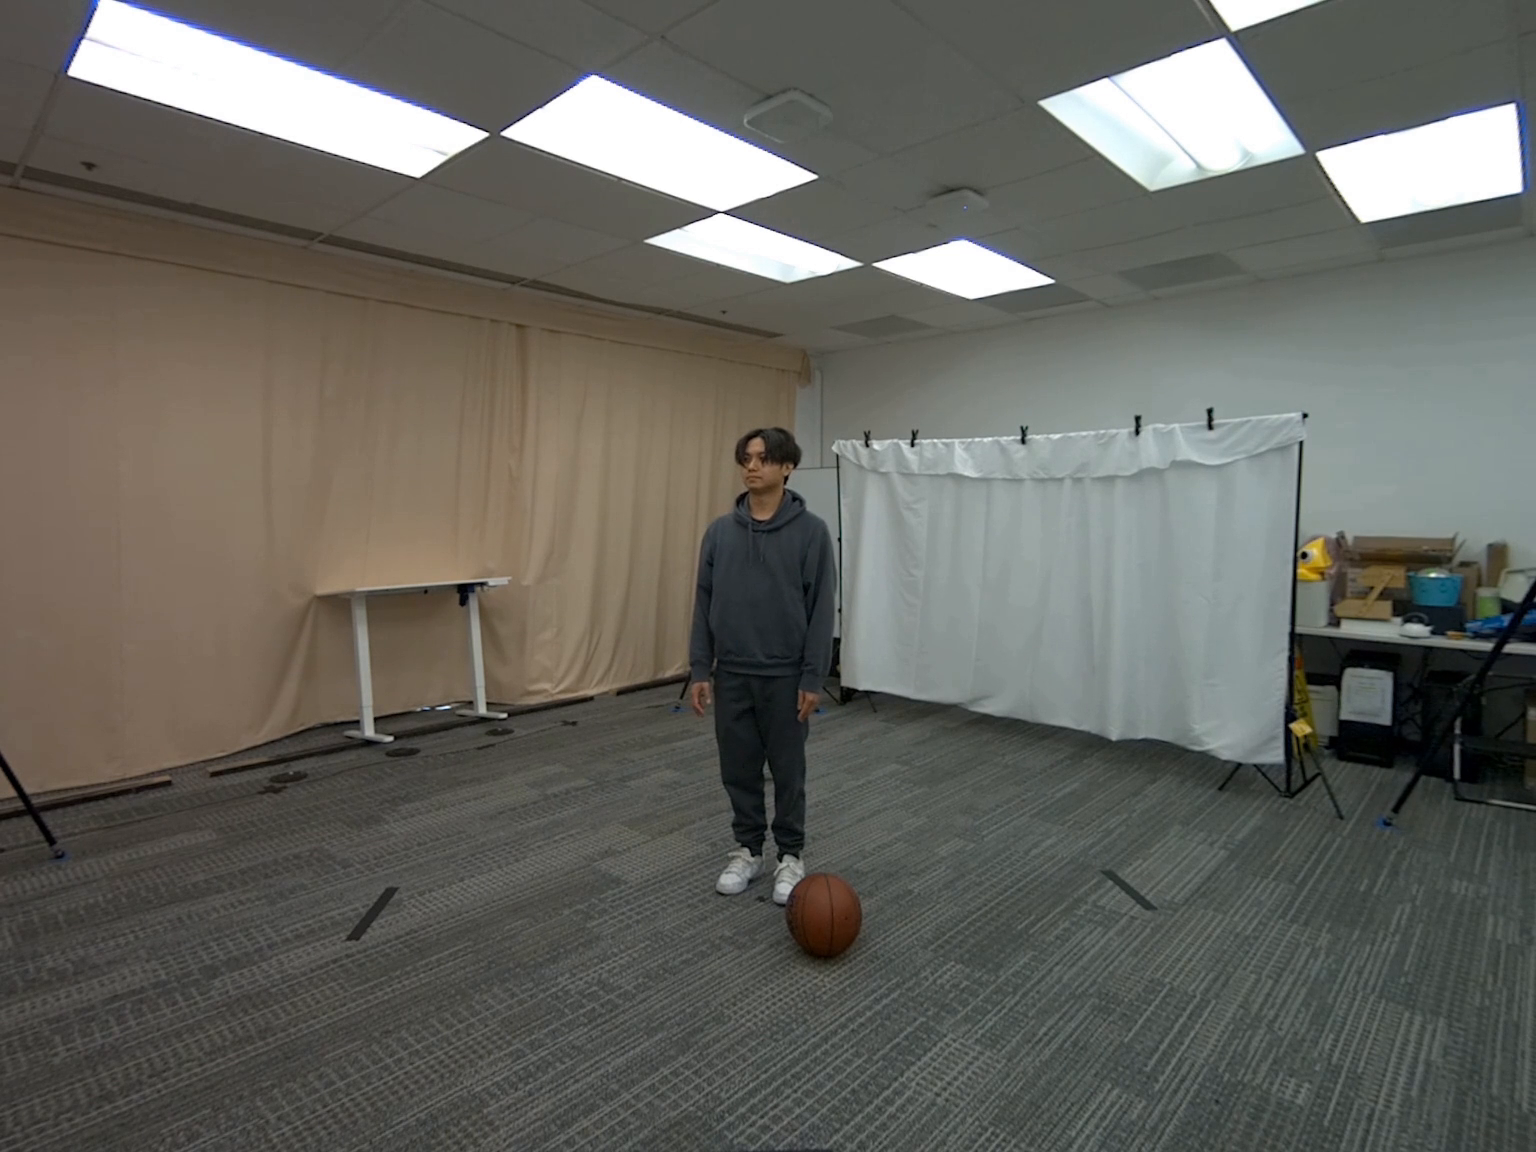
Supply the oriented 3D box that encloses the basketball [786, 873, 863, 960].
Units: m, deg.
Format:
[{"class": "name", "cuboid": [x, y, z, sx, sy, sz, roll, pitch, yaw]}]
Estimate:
[{"class": "basketball", "cuboid": [0.180, 1.054, 2.628, 0.236, 0.235, 0.237, 0, 4, -2]}]
